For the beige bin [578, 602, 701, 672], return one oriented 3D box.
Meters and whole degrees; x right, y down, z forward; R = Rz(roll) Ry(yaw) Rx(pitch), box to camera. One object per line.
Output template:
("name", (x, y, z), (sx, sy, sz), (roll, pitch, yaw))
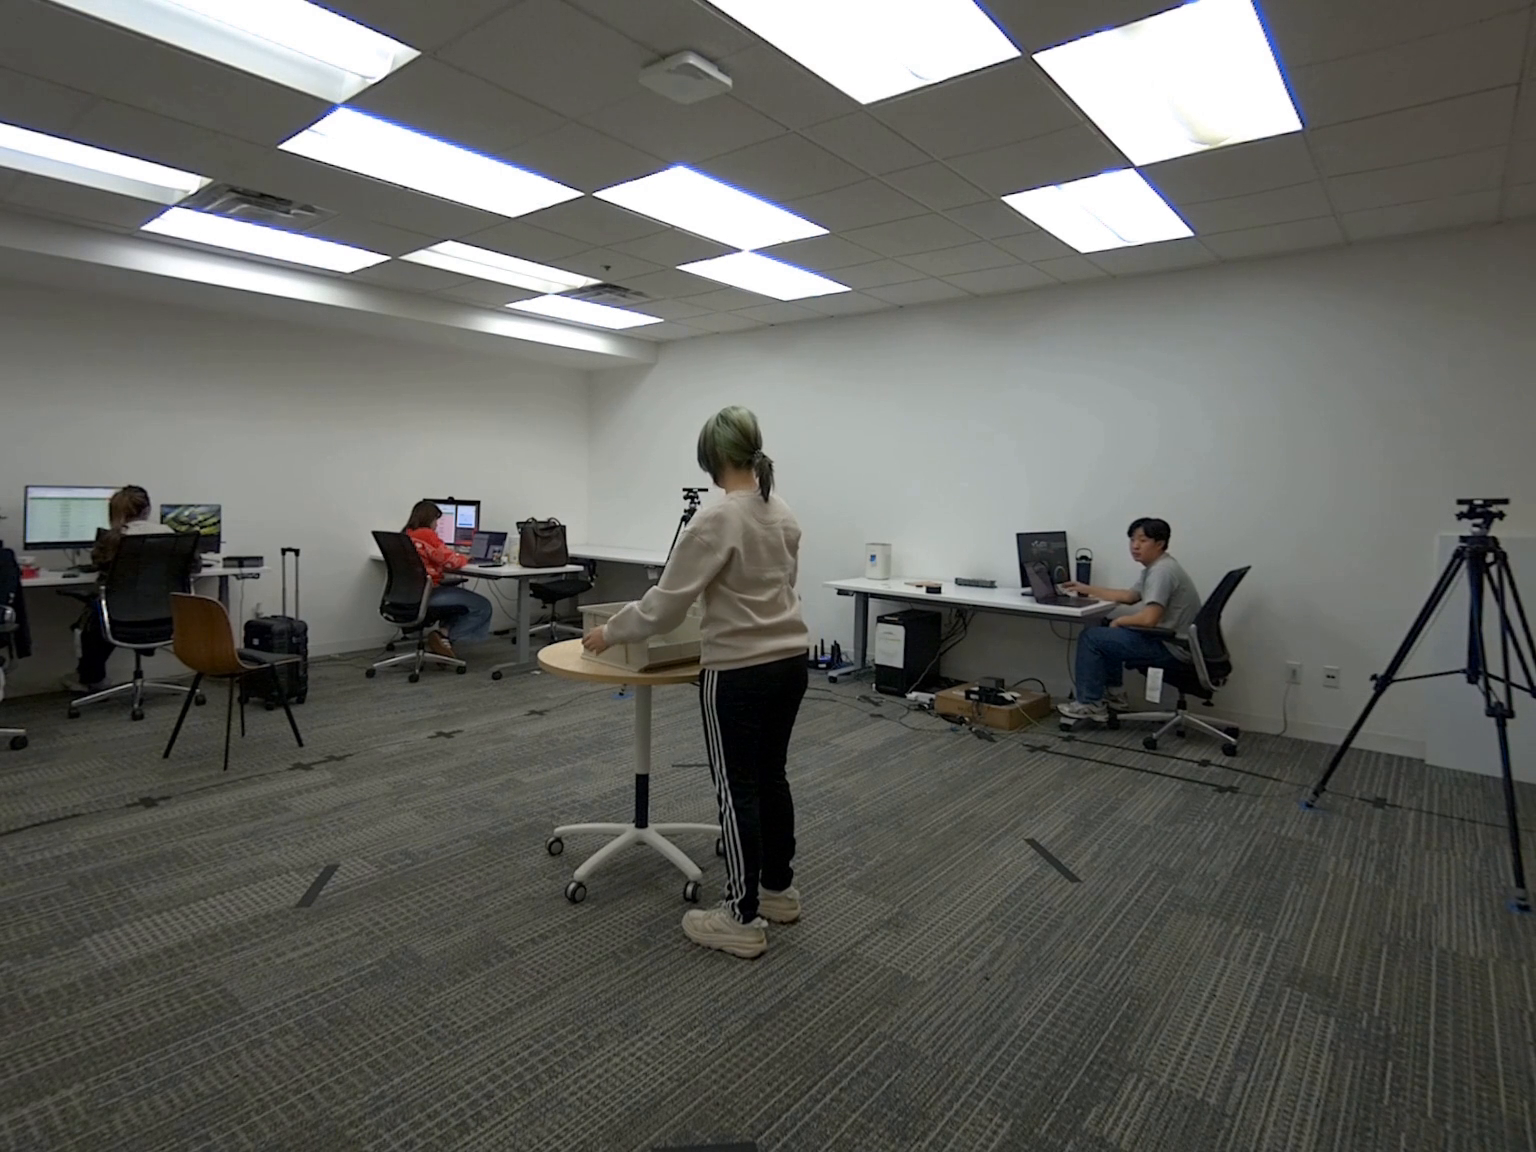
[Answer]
("beige bin", (-0.405, 0.202, 3.019), (0.390, 0.188, 0.410), (4, 6, 43))
